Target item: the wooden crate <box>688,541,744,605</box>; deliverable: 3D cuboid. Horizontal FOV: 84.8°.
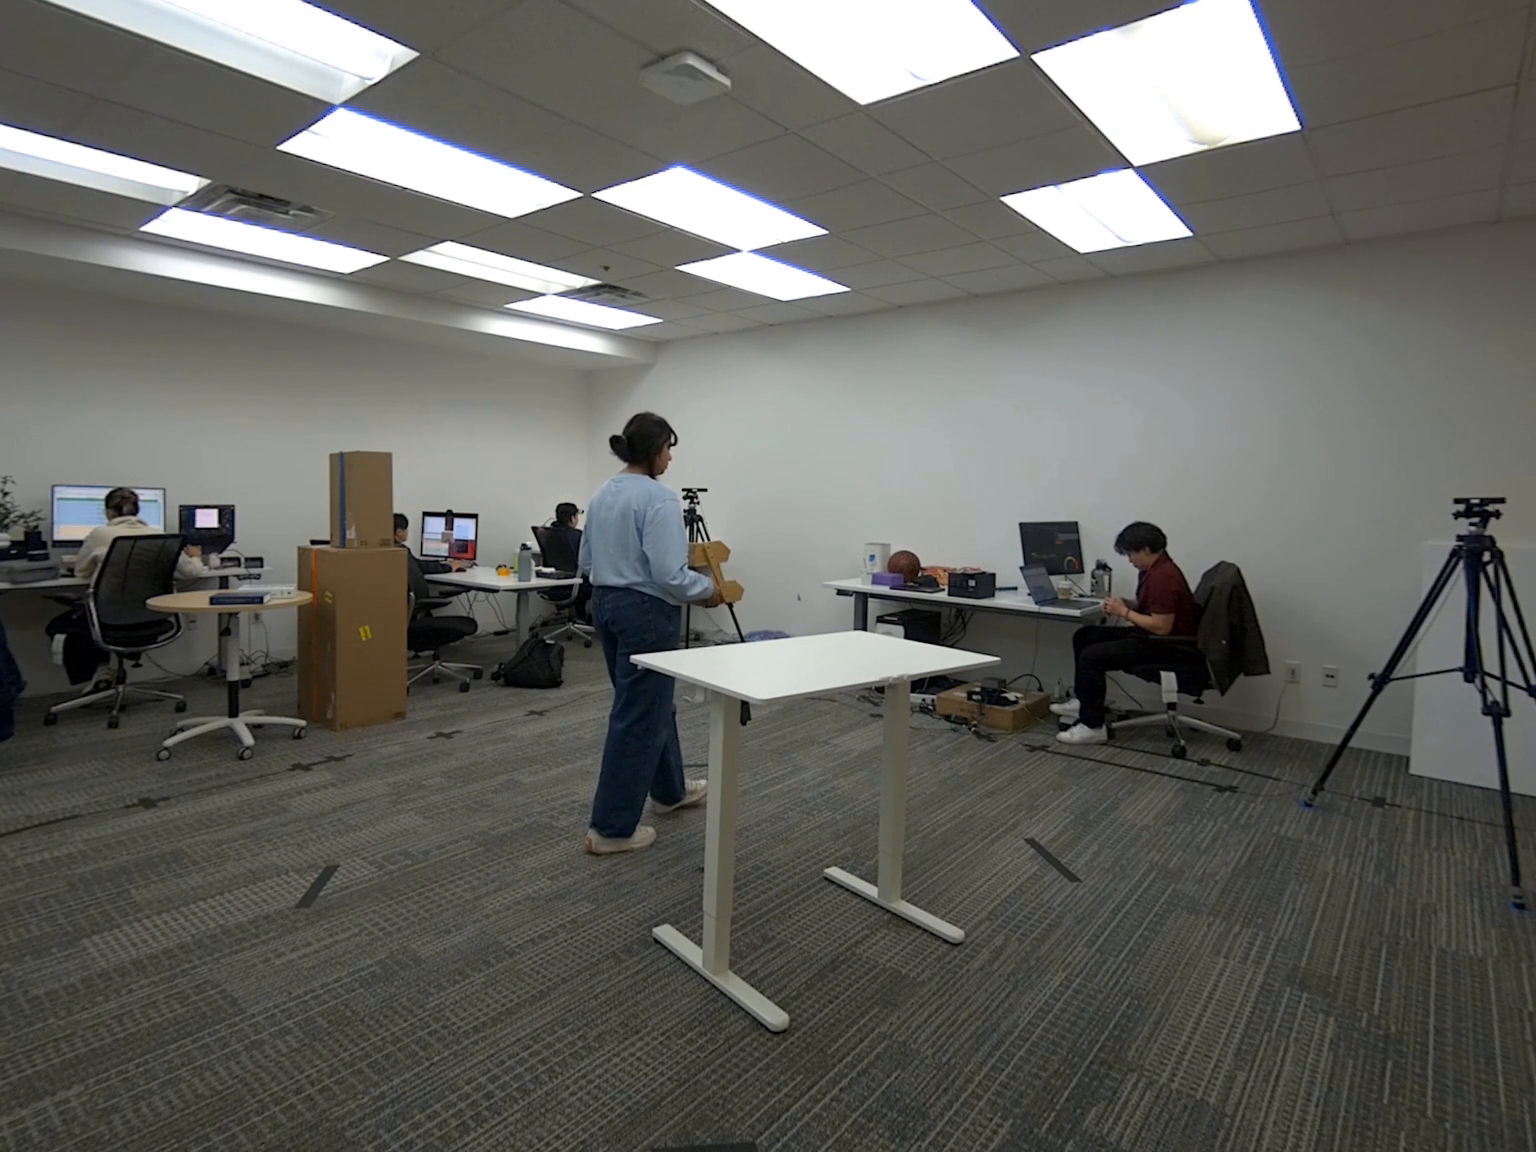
[{"bbox_3d":[-0.315,-0.039,3.542,0.336,0.271,0.293,7,10,42],"label":"wooden crate"}]
